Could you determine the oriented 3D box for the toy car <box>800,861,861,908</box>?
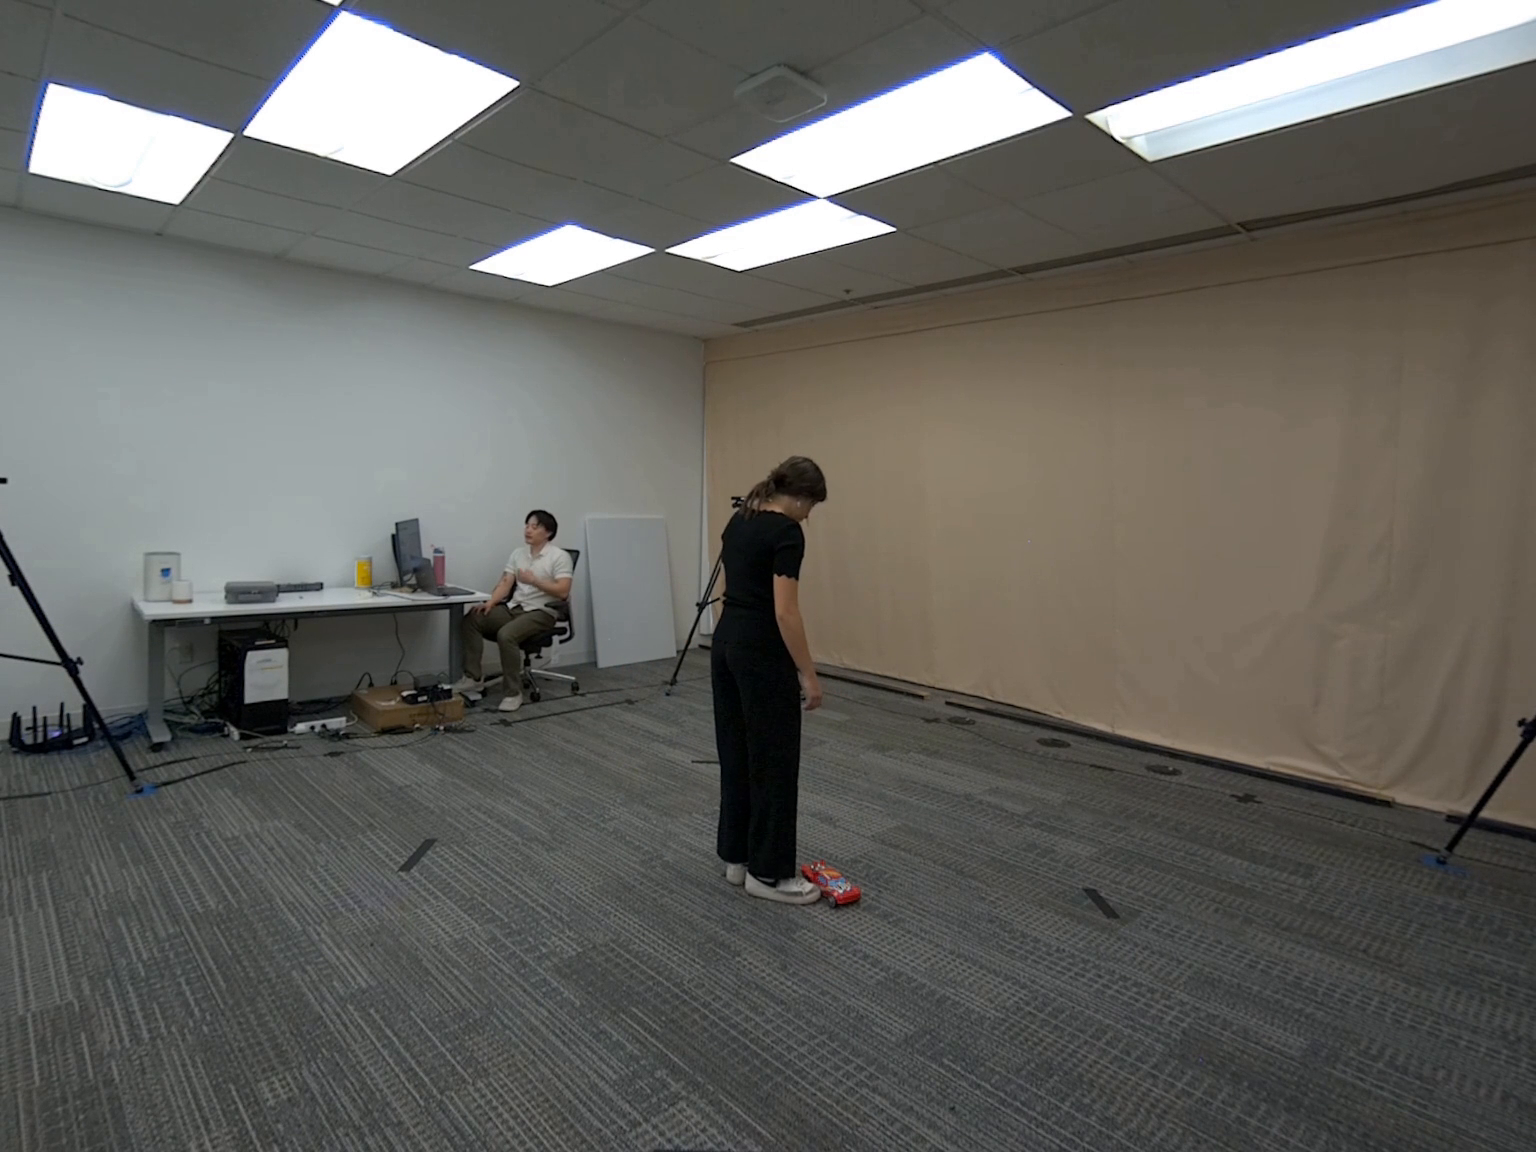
[{"bbox_3d":[0.212,1.090,2.989,0.128,0.082,0.262,-3,17,-29],"label":"toy car"}]
